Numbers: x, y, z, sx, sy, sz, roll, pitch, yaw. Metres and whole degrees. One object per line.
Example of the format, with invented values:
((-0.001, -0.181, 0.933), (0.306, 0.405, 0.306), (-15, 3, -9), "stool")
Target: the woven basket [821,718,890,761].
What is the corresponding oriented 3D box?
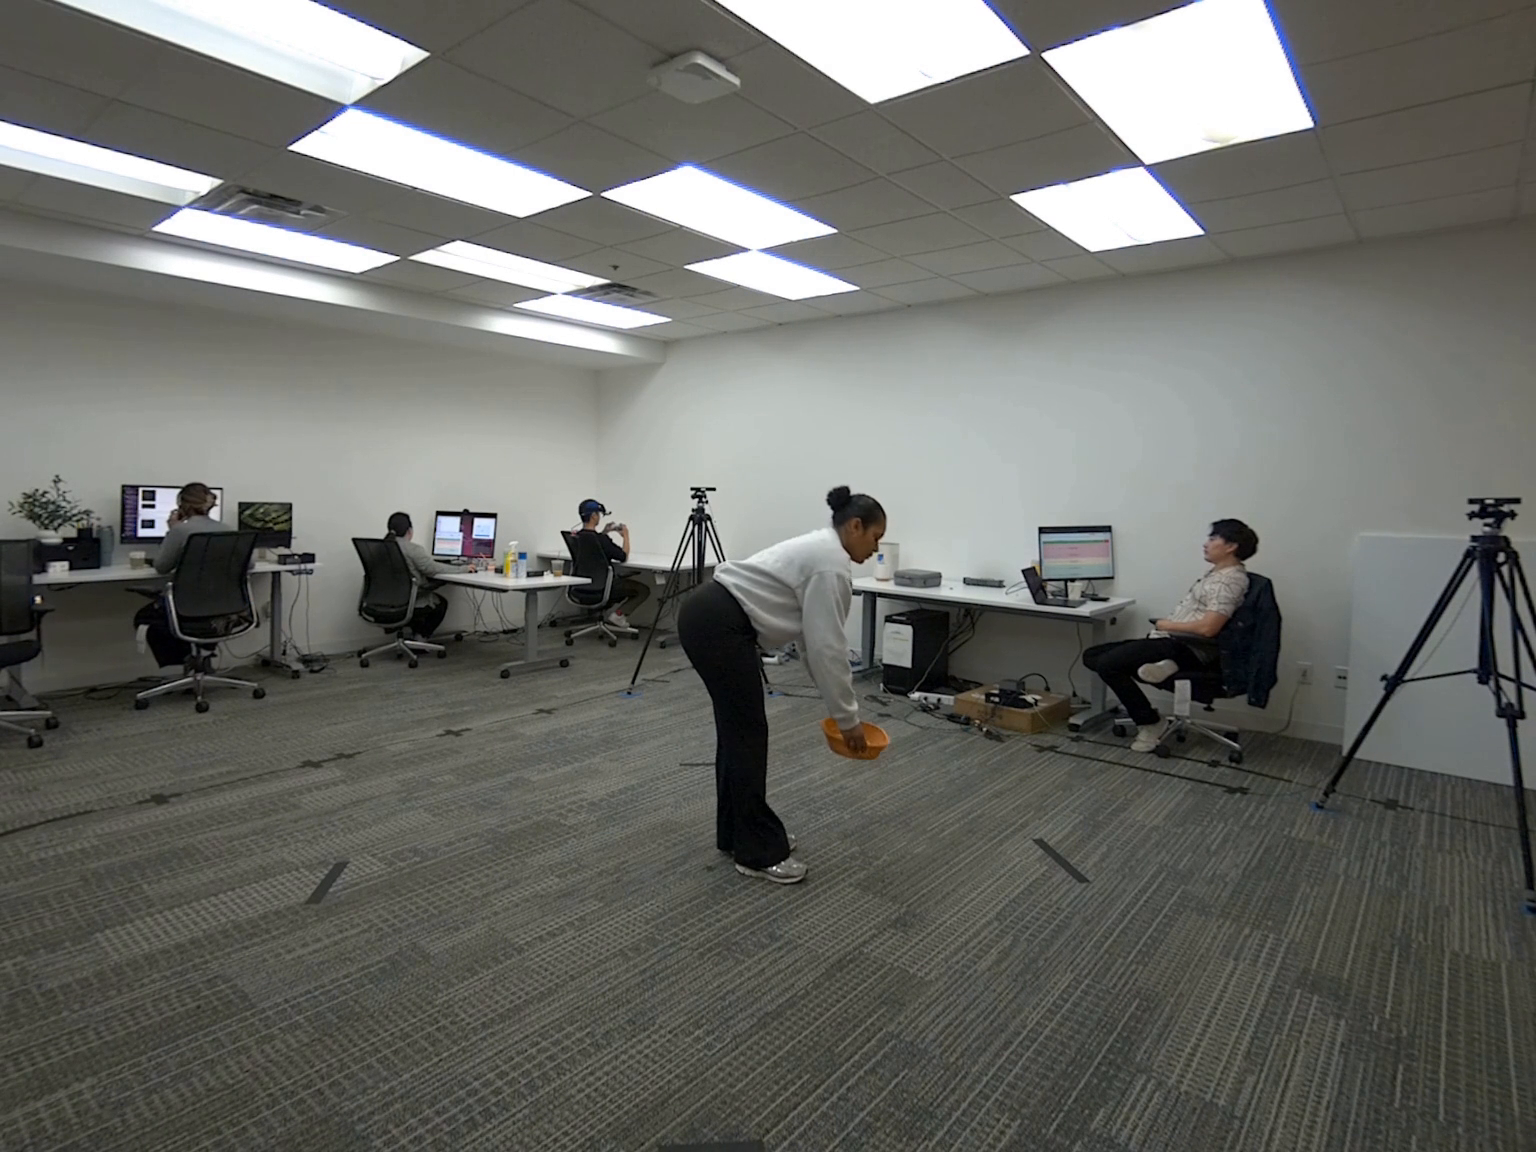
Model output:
((0.307, 0.605, 3.173), (0.253, 0.073, 0.350), (7, 5, 2), "woven basket")
